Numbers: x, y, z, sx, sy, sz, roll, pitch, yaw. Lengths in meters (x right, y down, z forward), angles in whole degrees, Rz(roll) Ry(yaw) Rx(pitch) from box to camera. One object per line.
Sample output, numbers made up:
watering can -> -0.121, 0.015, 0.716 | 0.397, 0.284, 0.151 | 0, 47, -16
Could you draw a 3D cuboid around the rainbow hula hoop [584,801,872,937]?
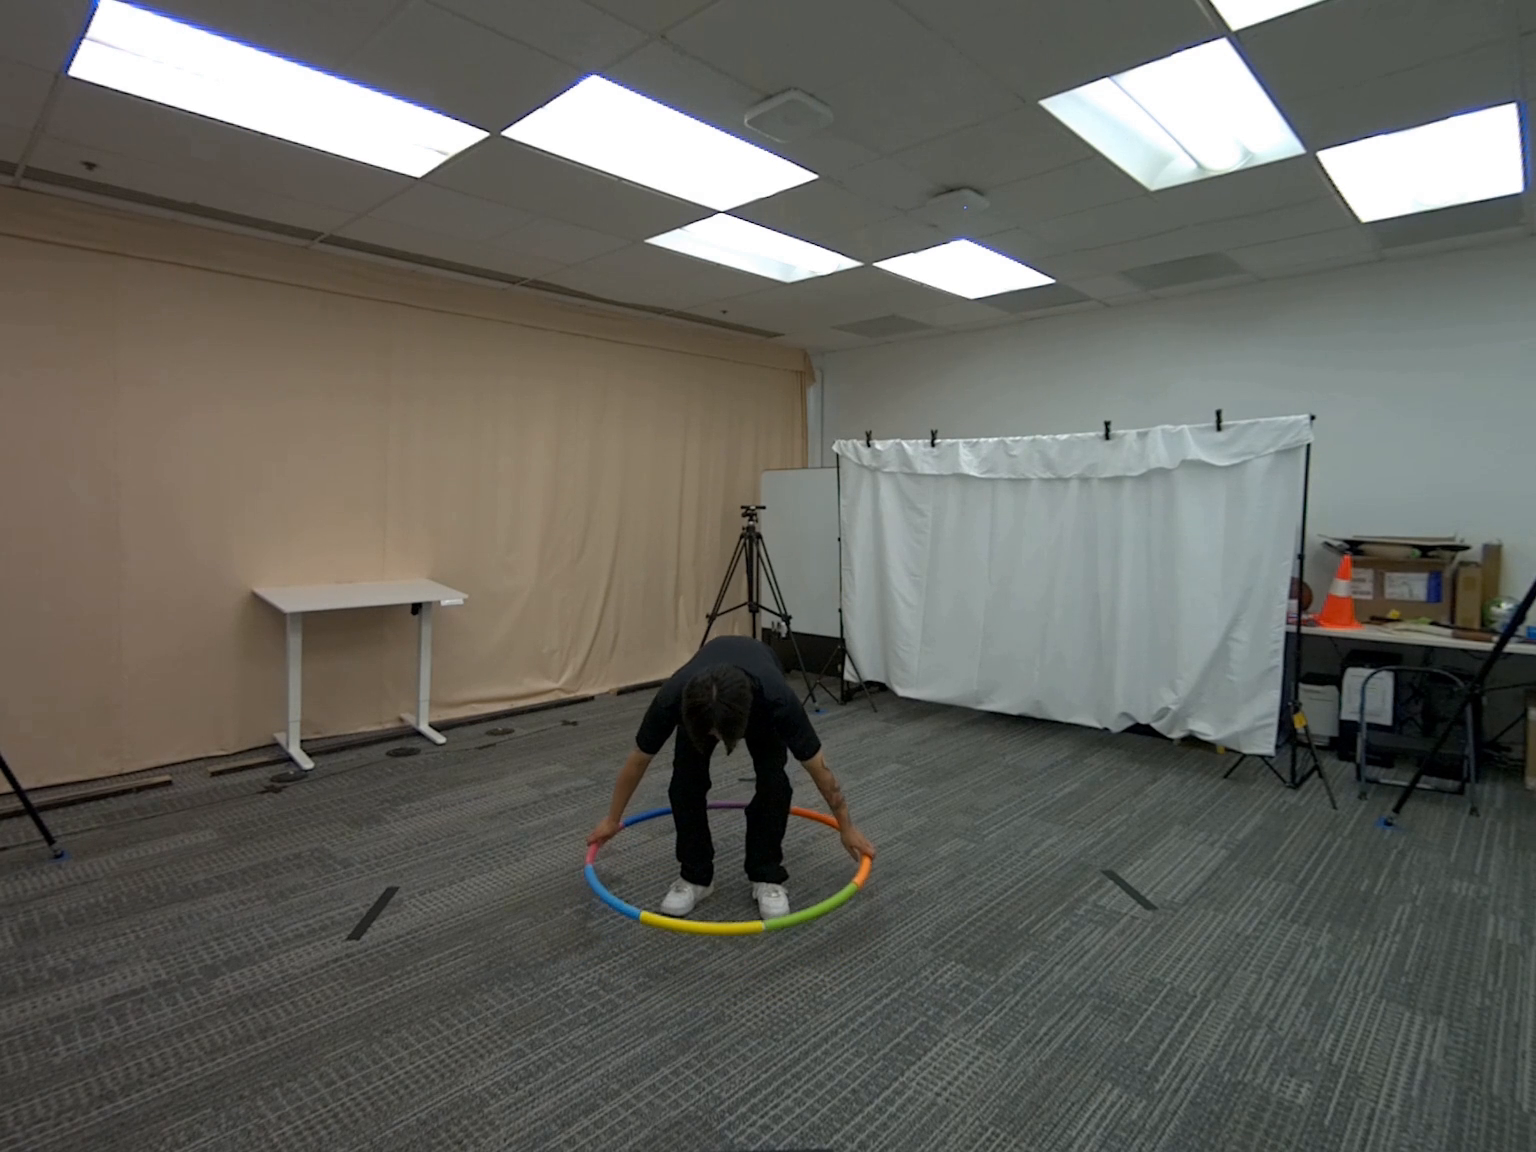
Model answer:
rainbow hula hoop -> -0.138, 0.958, 2.917 | 0.978, 0.035, 0.983 | -1, 6, -2
